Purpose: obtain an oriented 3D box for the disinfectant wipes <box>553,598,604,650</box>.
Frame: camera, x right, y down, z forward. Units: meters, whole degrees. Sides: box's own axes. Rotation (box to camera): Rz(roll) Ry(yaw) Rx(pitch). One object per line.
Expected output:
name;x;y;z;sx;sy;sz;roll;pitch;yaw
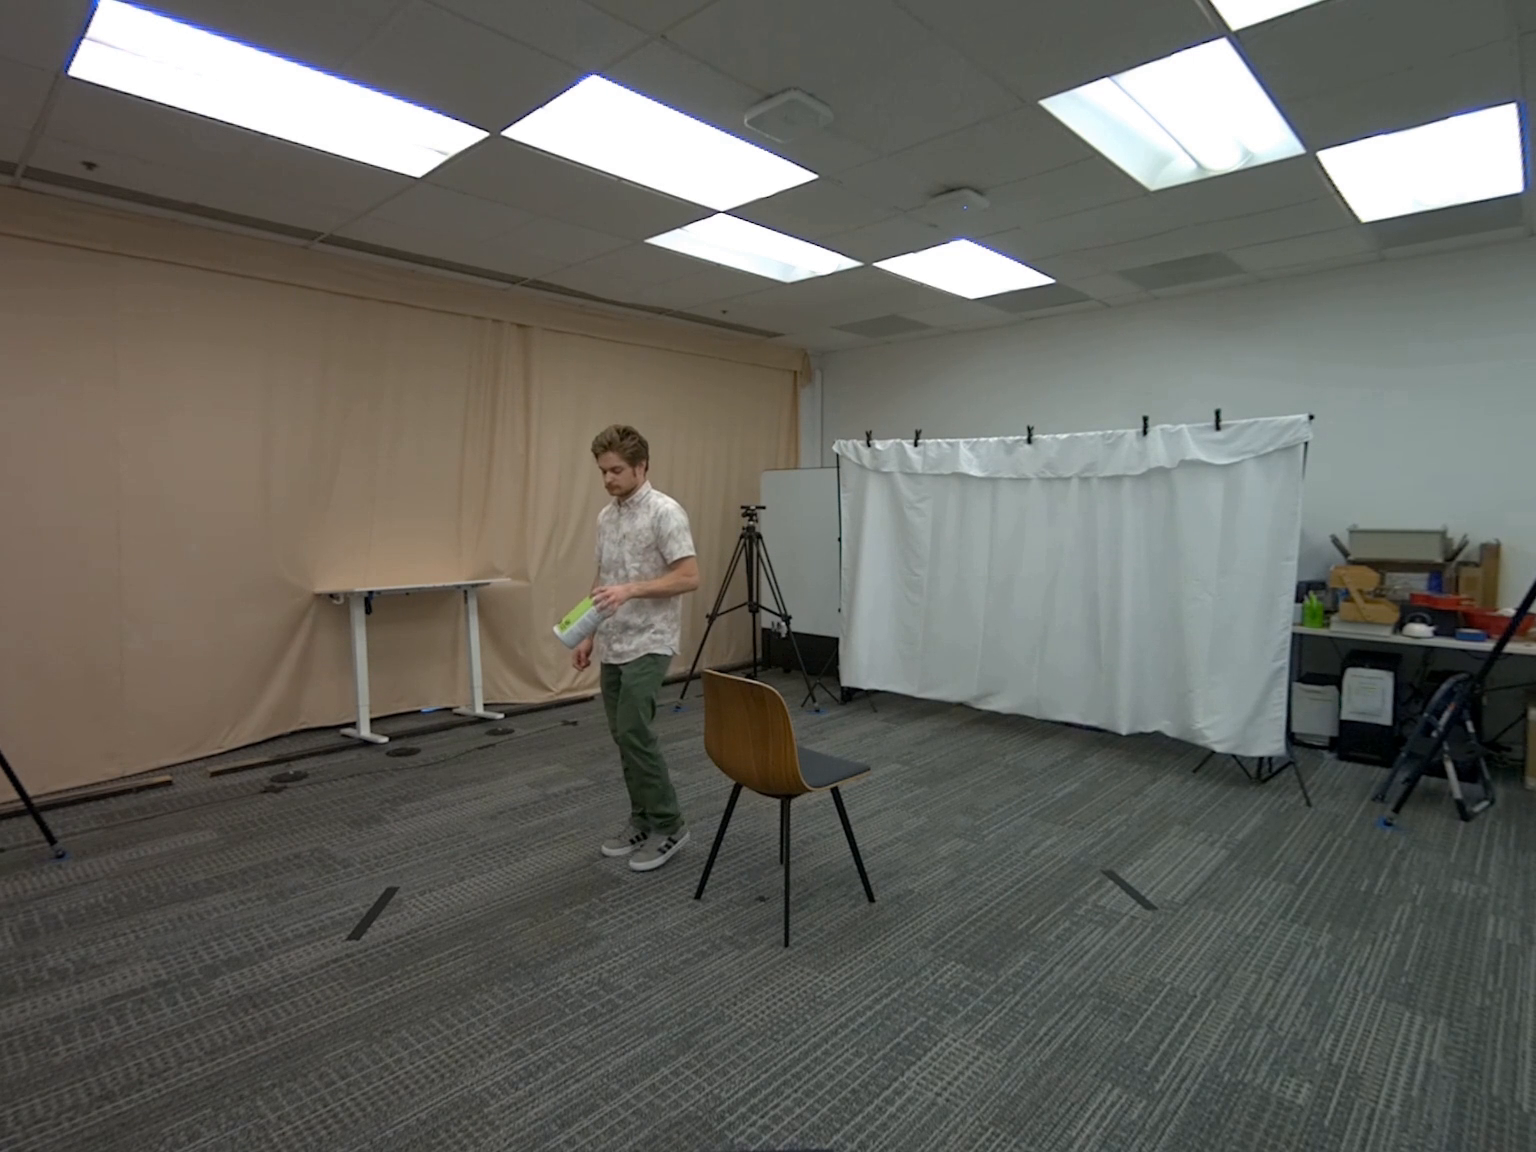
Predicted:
disinfectant wipes;-0.670;0.162;3.110;0.217;0.116;0.119;-44;10;-4
